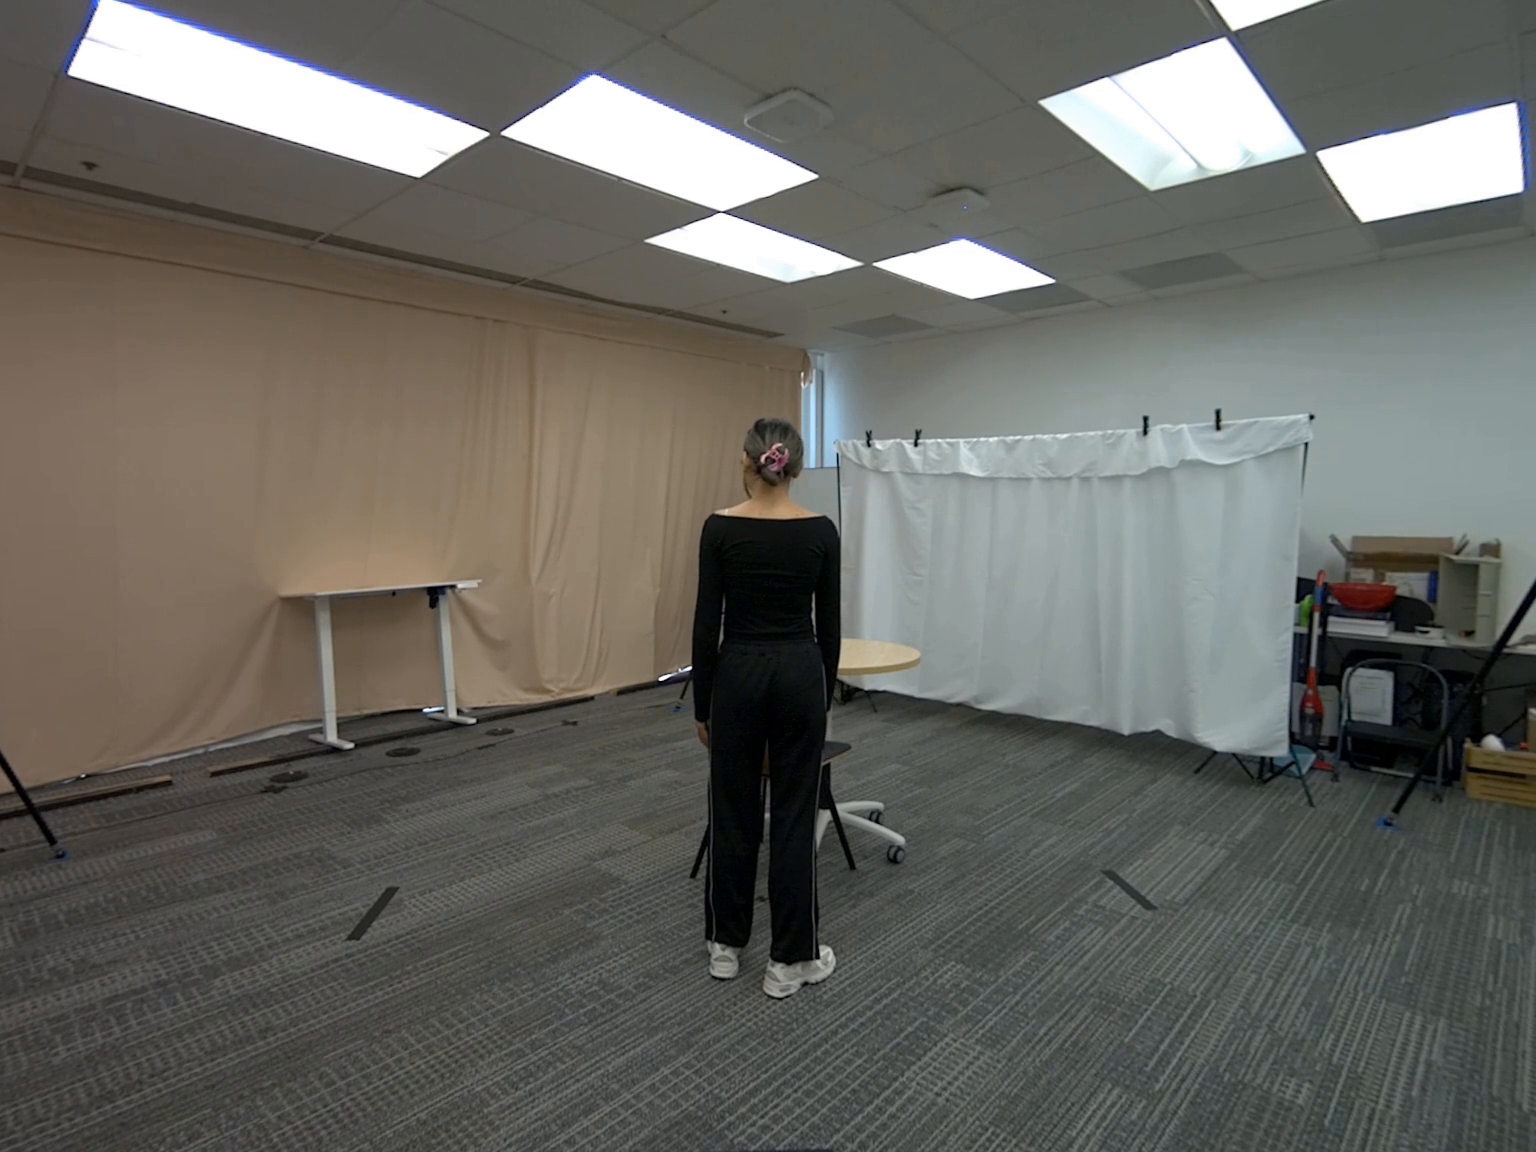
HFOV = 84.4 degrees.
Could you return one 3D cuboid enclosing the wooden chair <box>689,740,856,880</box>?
[{"bbox_3d":[0.024,0.698,3.160,0.493,0.873,0.509,2,8,38],"label":"wooden chair"}]
